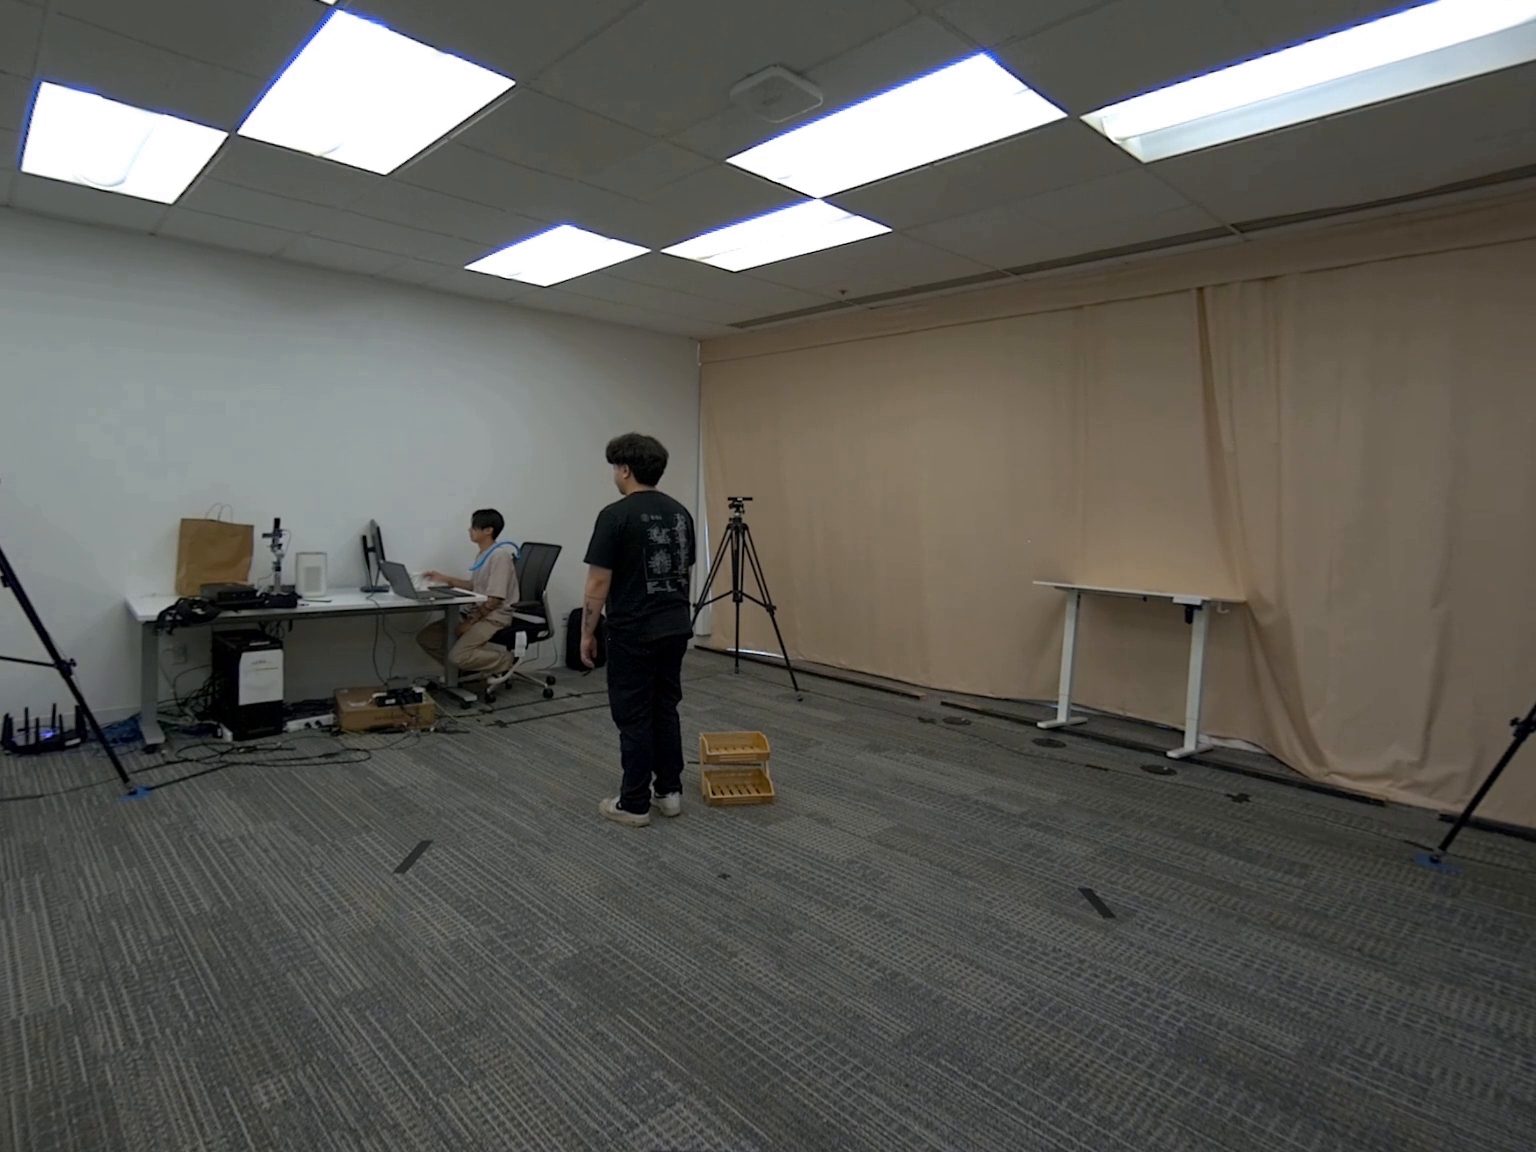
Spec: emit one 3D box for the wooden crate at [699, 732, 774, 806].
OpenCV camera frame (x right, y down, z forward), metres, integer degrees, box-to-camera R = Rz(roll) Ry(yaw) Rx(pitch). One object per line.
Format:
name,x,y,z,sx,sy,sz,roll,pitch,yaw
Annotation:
wooden crate,-0.163,0.896,3.968,0.321,0.273,0.306,1,3,-14
